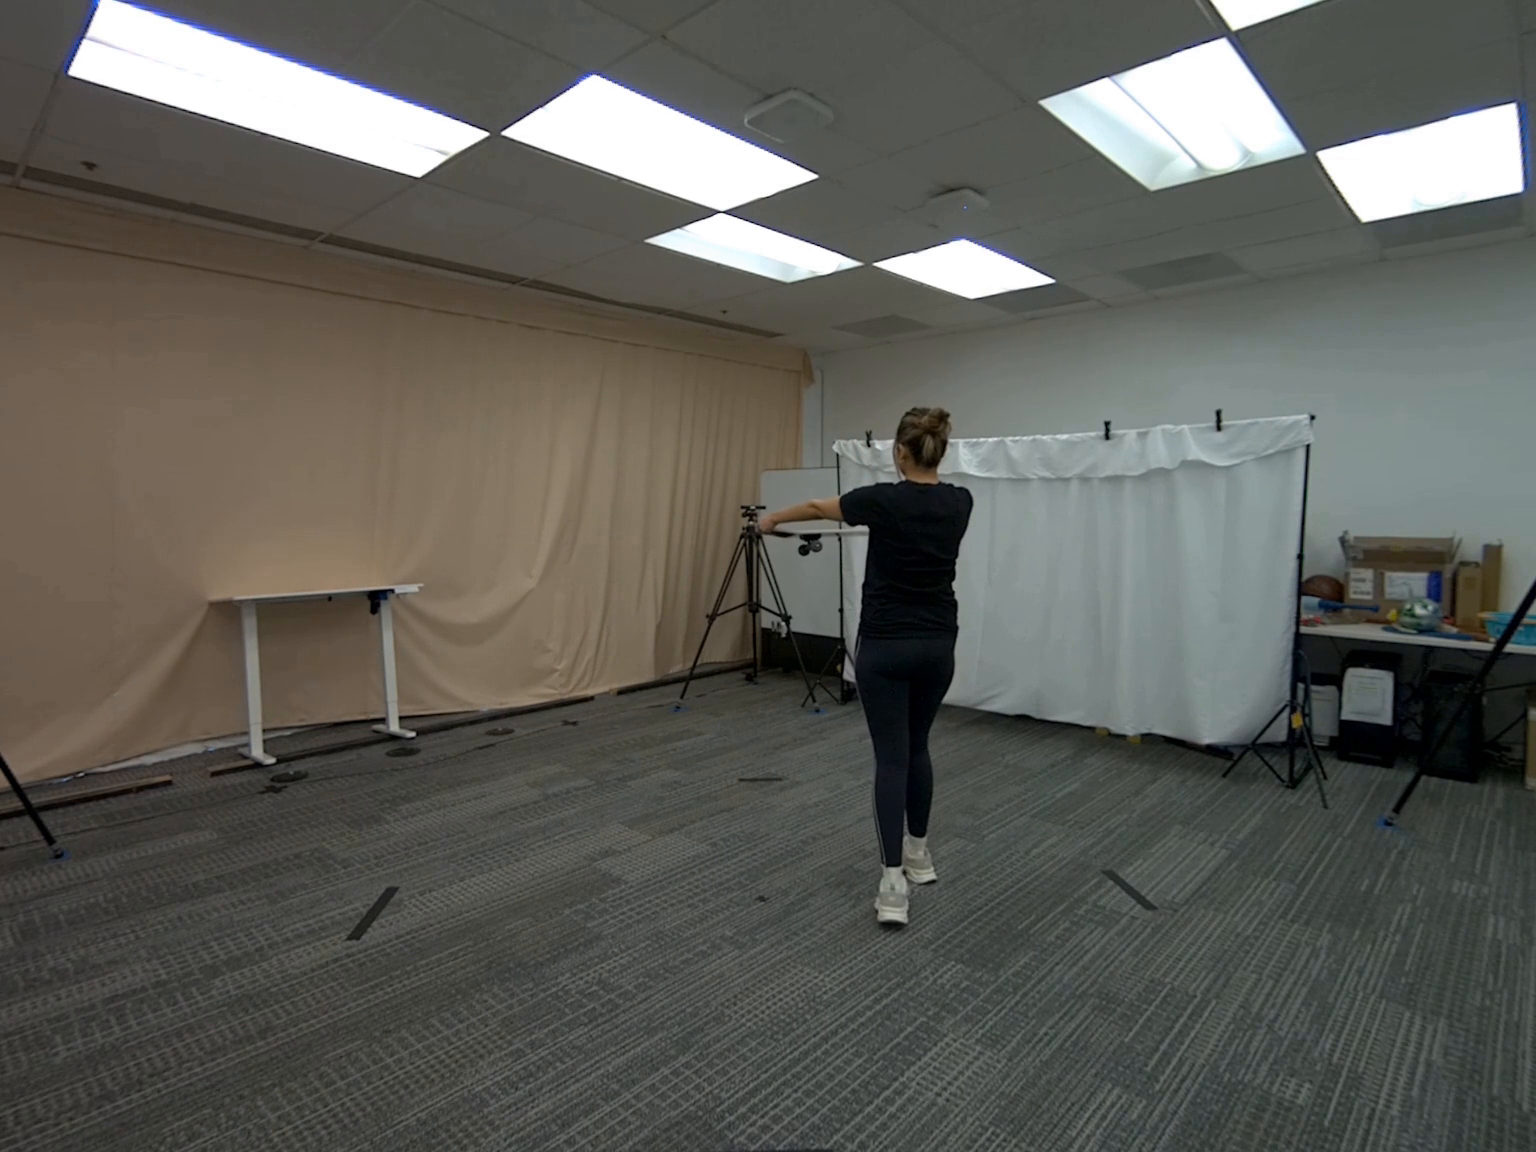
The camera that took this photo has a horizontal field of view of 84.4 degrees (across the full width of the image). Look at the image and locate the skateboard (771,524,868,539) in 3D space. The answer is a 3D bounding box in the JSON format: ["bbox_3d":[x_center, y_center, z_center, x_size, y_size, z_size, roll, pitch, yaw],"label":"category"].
[{"bbox_3d":[0.376,-0.150,3.509,0.775,0.111,0.195,-2,-4,-12],"label":"skateboard"}]
